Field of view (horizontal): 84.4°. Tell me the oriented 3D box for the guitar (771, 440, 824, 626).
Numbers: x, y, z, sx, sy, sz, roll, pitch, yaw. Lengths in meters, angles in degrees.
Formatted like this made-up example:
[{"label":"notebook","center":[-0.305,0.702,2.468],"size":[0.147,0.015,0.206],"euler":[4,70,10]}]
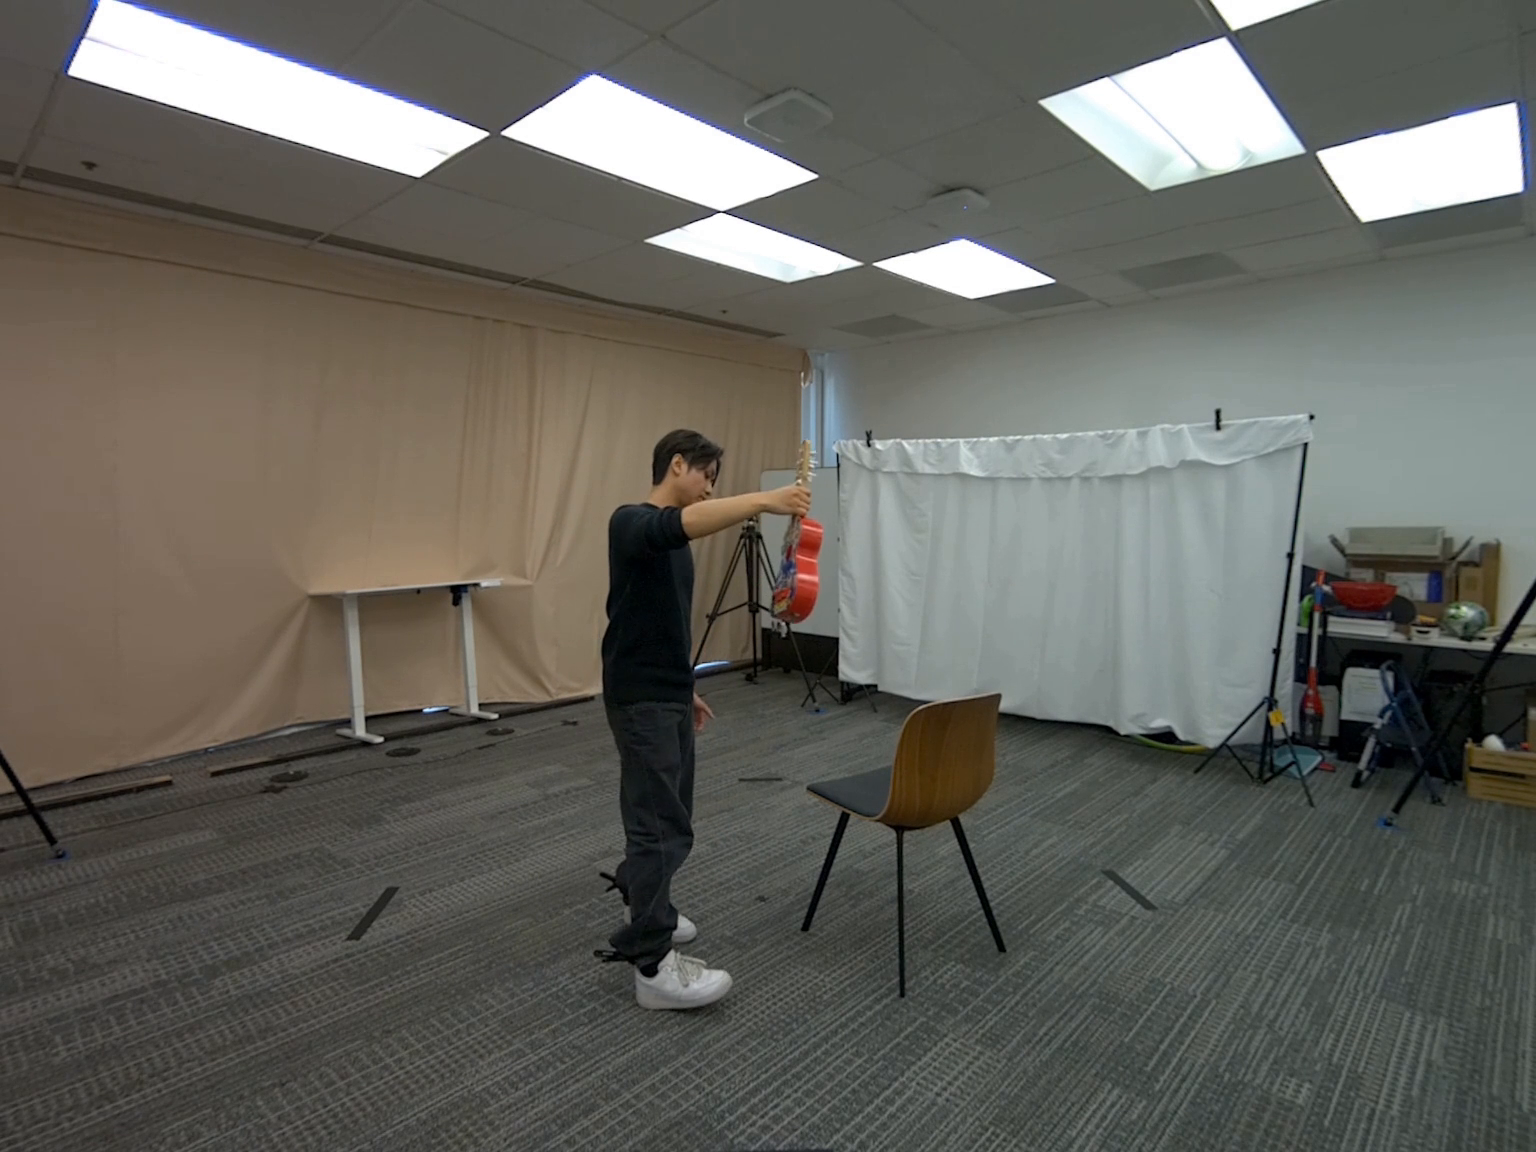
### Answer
[{"label":"guitar","center":[0.103,-0.122,2.197],"size":[0.069,0.499,0.195],"euler":[14,-8,-15]}]
